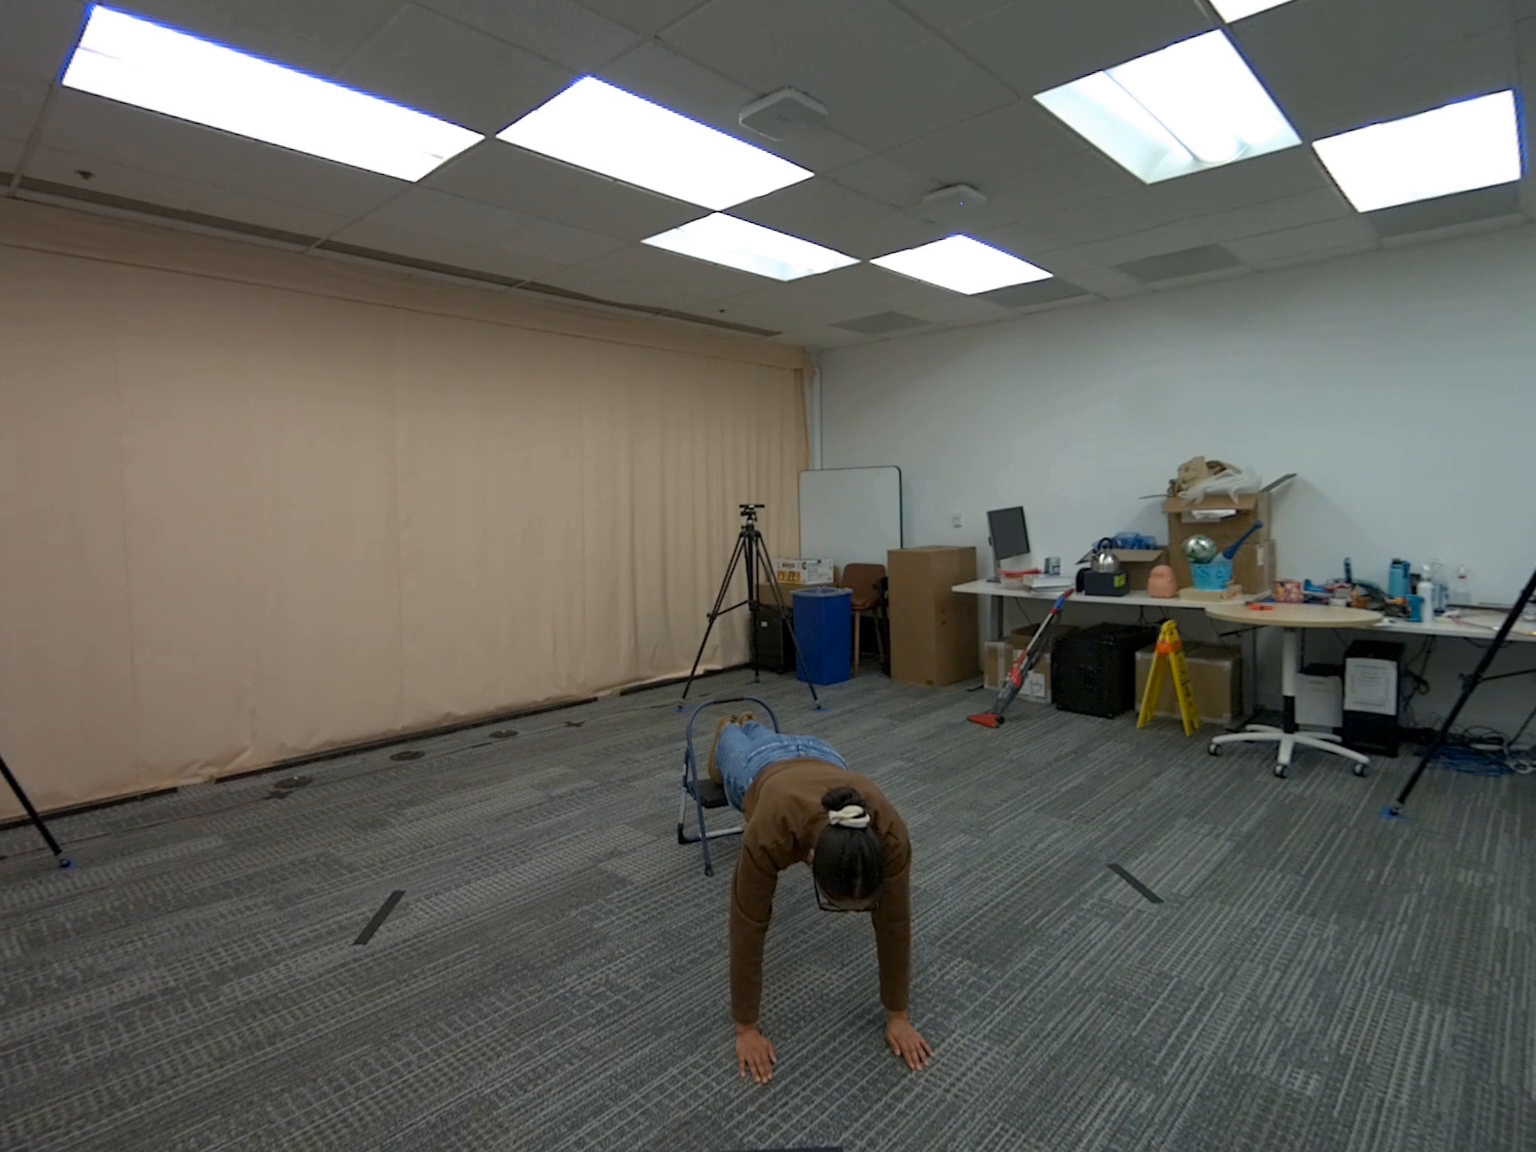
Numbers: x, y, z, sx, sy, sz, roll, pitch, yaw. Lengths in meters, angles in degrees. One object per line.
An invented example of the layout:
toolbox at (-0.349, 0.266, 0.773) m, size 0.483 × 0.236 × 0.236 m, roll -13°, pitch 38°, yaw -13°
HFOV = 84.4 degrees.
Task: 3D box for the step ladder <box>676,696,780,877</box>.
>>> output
step ladder at (-0.117, 0.806, 3.390) m, size 0.420 × 0.605 × 0.358 m, roll -3°, pitch 4°, yaw -25°
